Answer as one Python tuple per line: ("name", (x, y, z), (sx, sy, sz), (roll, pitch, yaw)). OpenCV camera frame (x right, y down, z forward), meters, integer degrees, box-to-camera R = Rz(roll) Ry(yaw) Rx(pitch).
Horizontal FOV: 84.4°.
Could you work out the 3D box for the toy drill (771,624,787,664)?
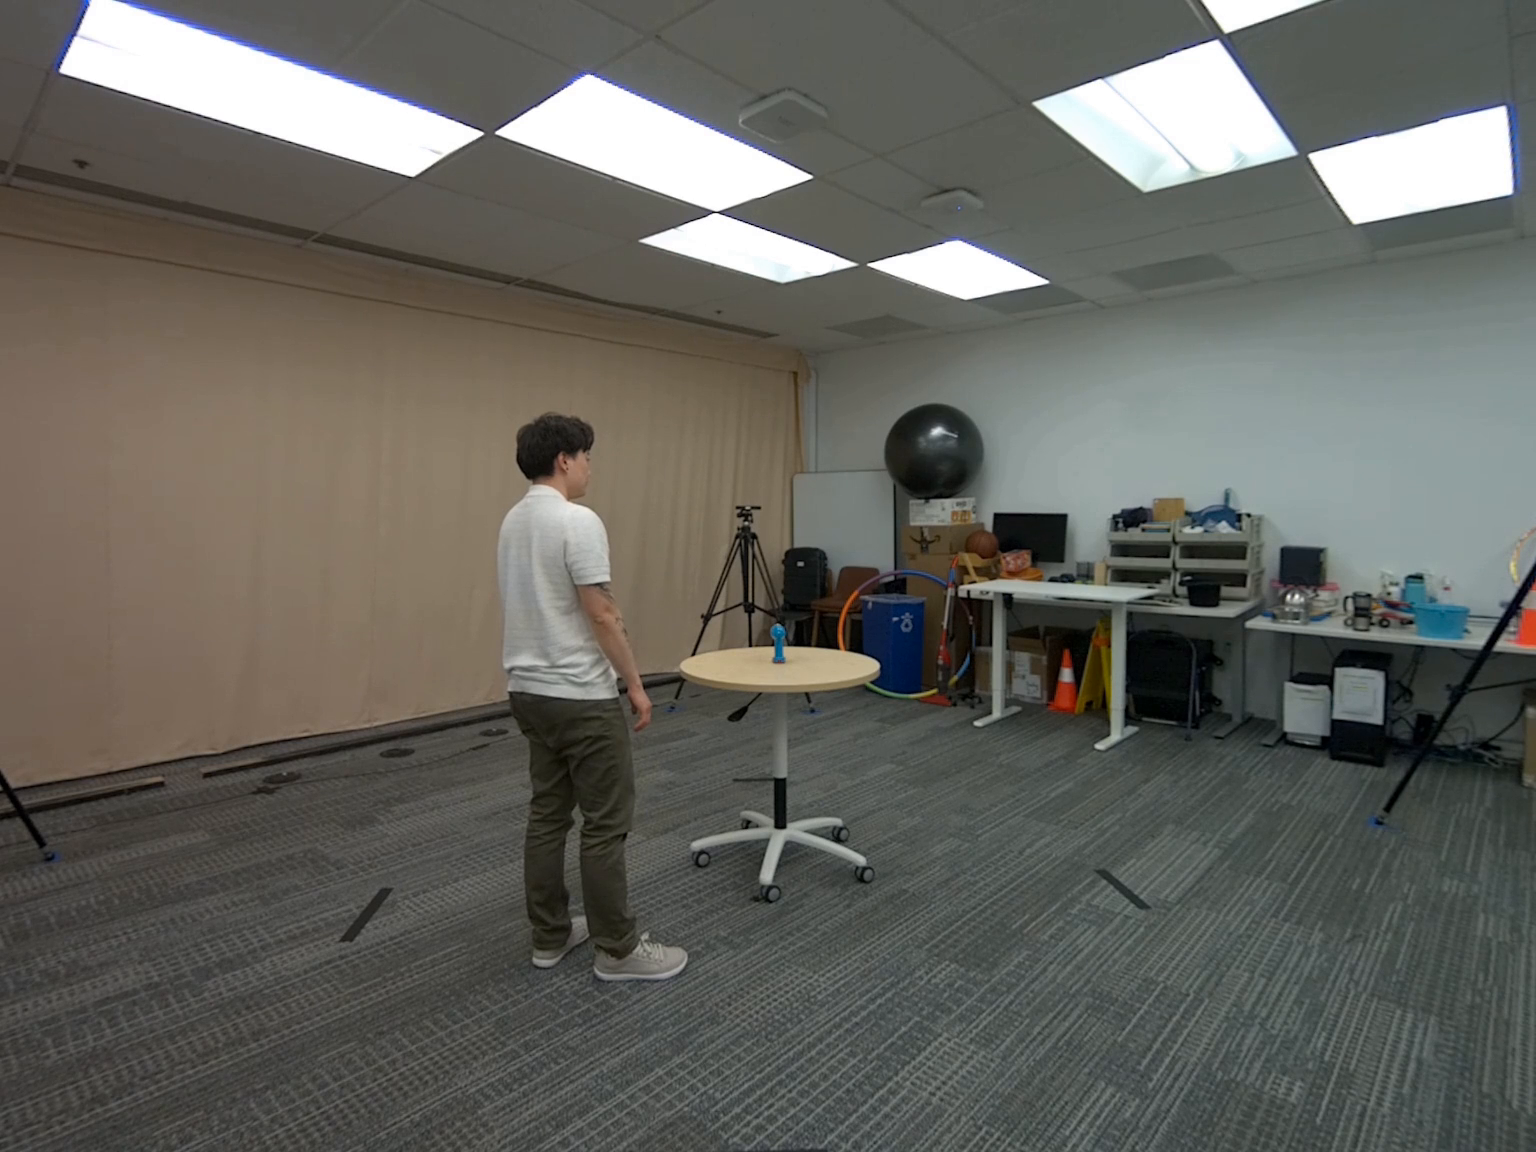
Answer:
("toy drill", (0.036, 0.260, 3.312), (0.061, 0.145, 0.171), (-2, 5, -6))
